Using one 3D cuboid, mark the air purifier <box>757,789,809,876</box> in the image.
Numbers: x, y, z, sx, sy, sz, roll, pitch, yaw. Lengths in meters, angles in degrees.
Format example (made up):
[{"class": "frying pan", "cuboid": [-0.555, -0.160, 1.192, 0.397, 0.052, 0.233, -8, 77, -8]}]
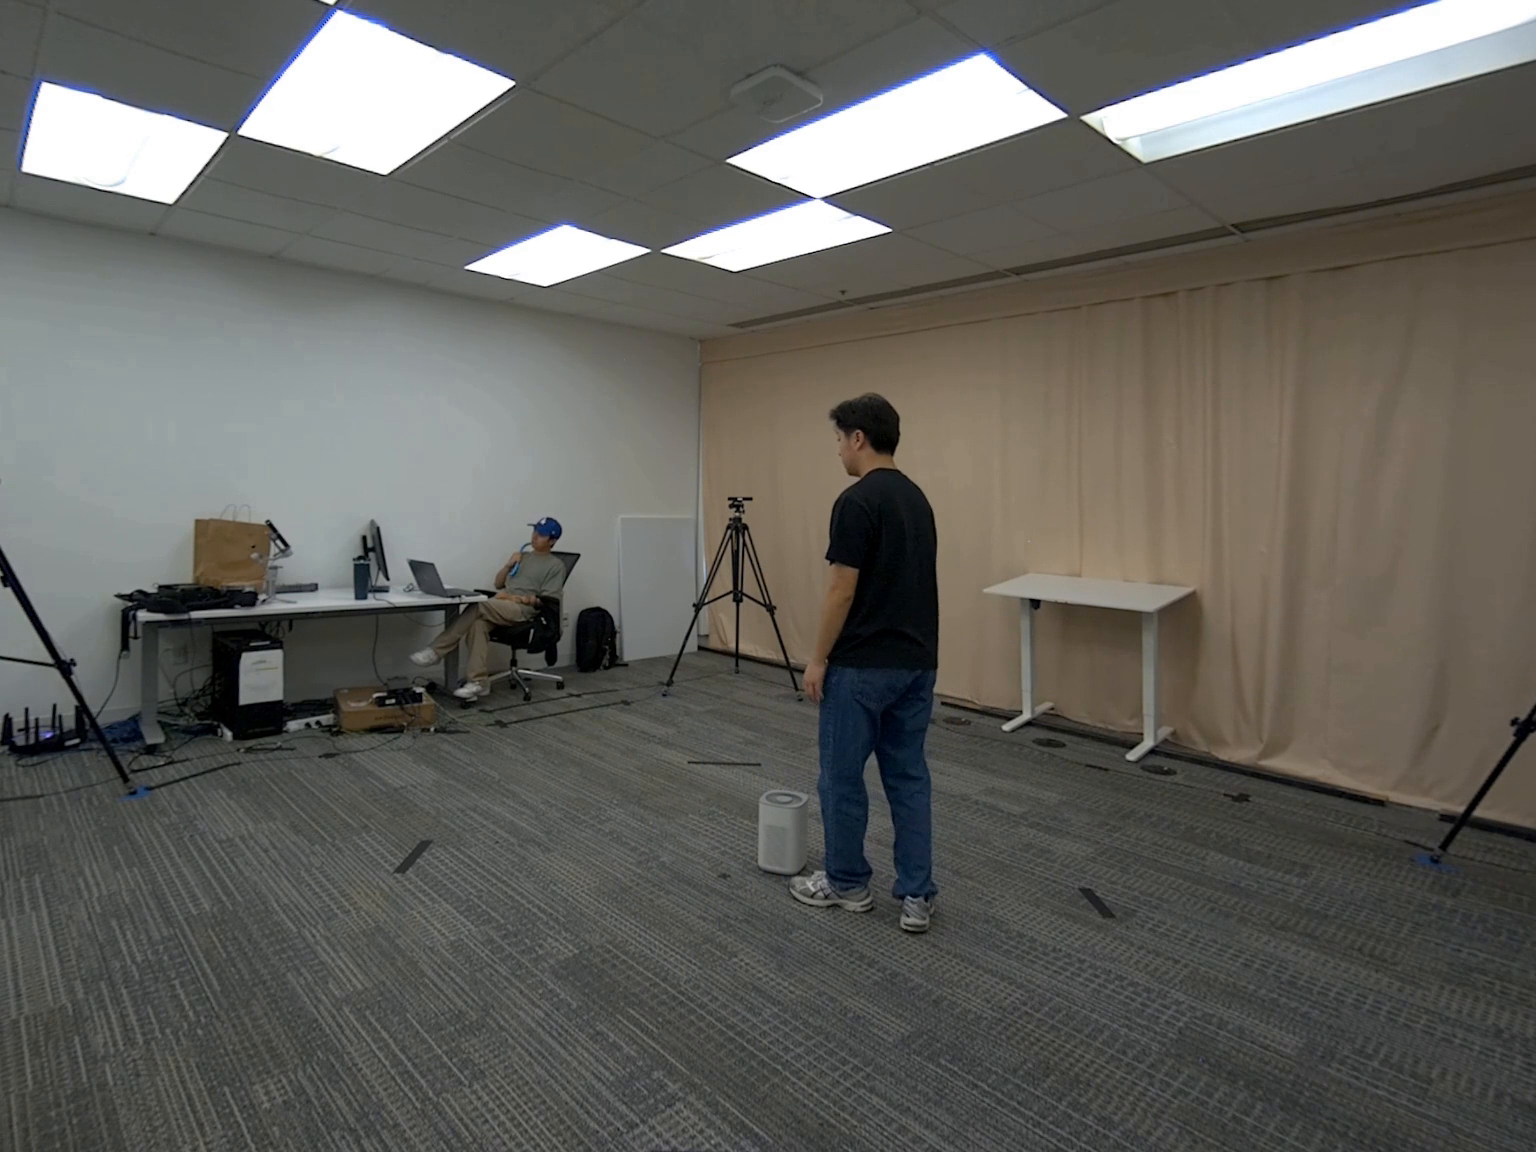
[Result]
[{"class": "air purifier", "cuboid": [0.050, 0.968, 3.185, 0.174, 0.265, 0.169, 3, 4, 20]}]
